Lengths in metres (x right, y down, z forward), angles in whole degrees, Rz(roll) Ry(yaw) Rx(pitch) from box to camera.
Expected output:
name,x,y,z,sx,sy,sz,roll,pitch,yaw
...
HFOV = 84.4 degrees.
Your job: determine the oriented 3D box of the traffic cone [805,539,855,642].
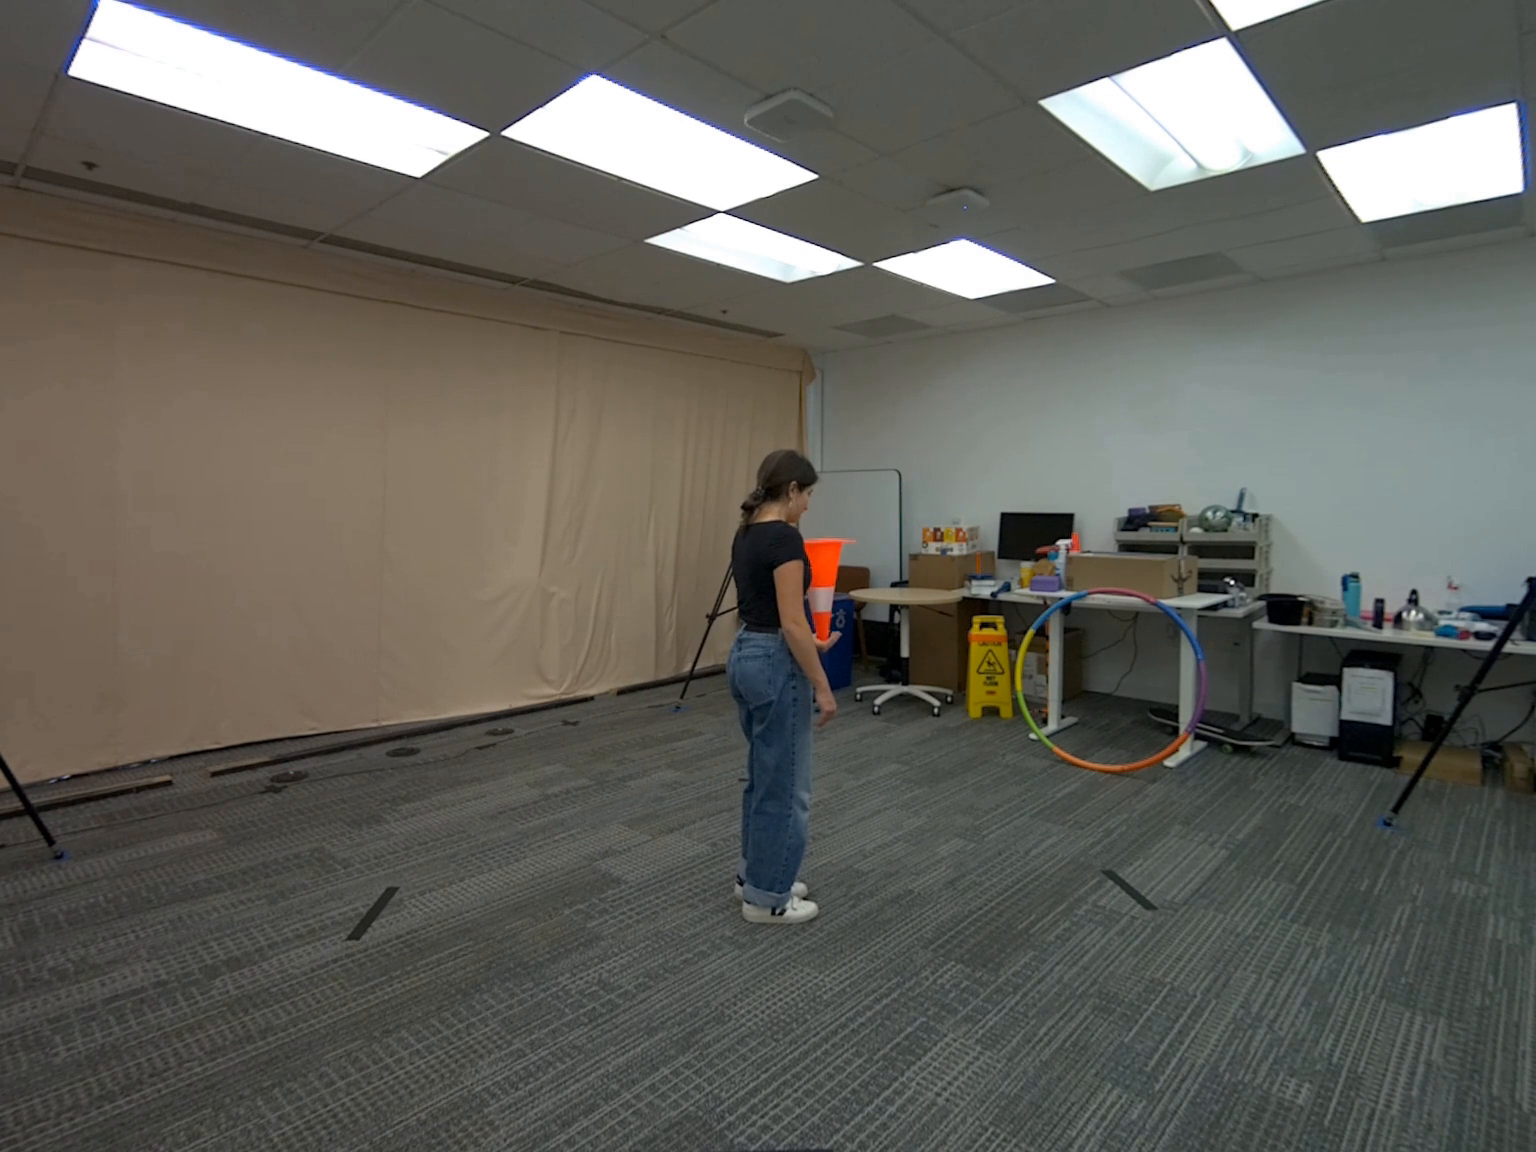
name,x,y,z,sx,sy,sz,roll,pitch,yaw
traffic cone,0.203,0.065,3.073,0.200,0.383,0.209,-3,3,-18
